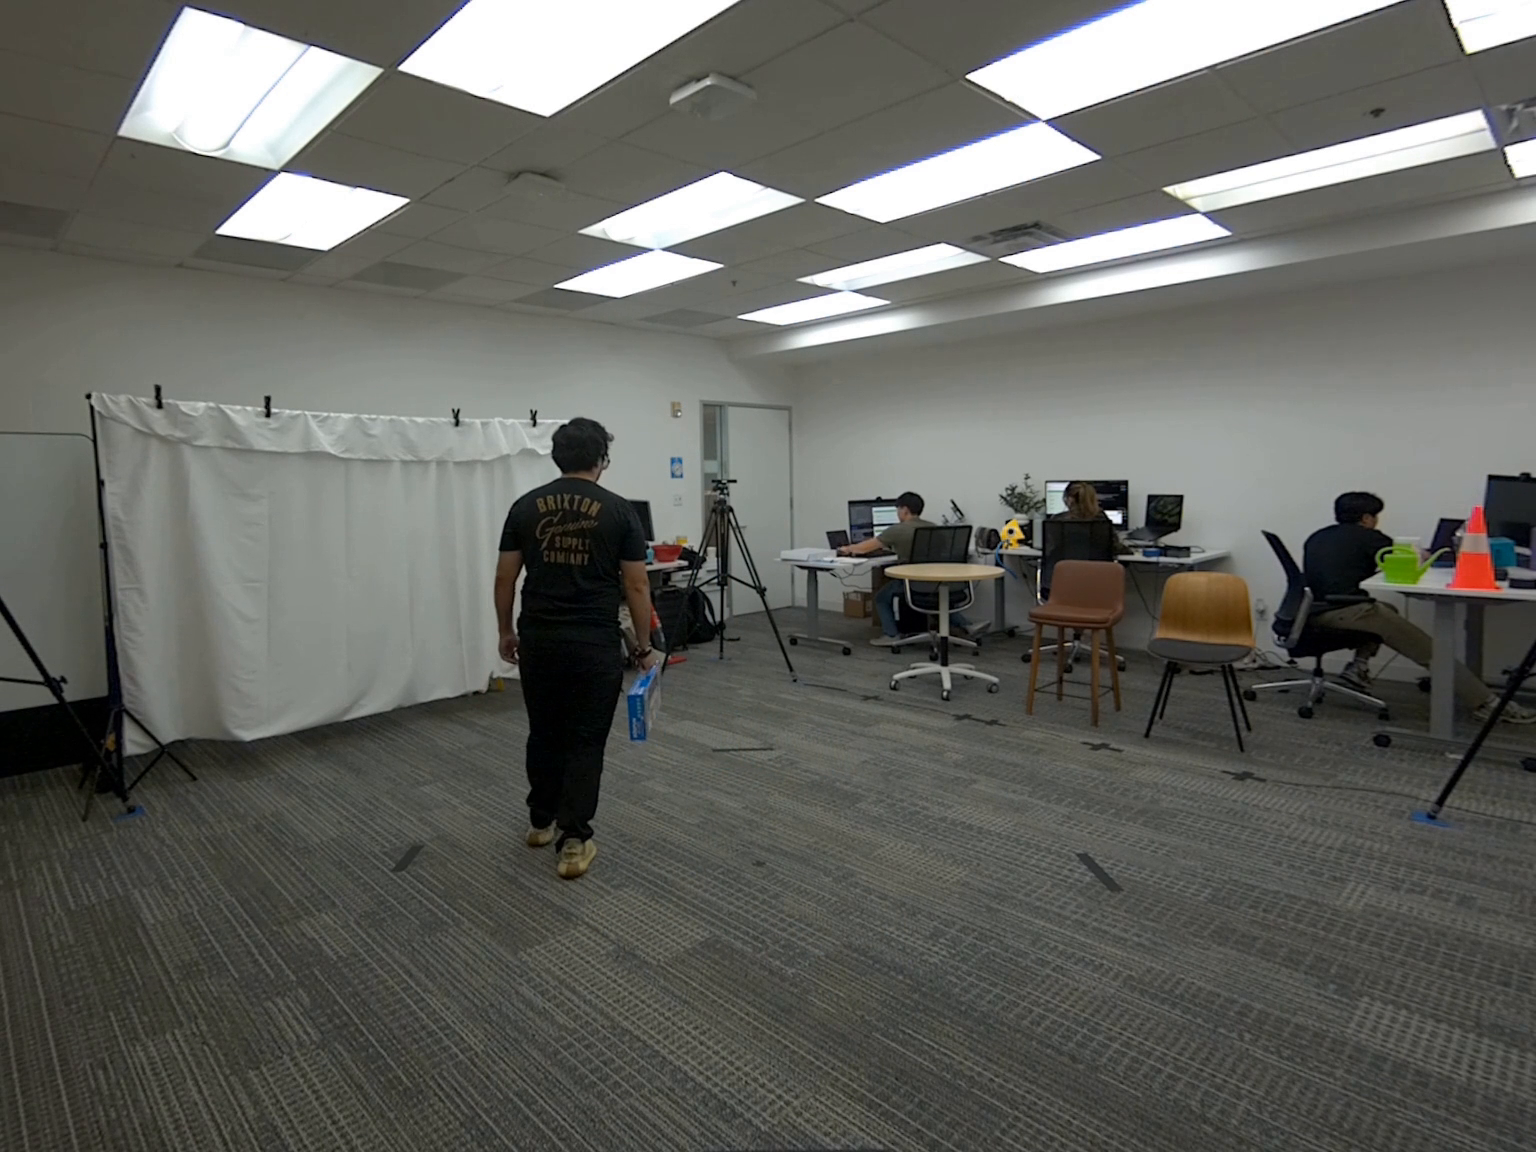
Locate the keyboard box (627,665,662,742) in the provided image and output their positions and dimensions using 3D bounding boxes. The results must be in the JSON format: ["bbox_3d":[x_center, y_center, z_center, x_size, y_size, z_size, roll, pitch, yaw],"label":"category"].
[{"bbox_3d":[-0.465,0.459,3.271,0.059,0.174,0.439,-2,10,2],"label":"keyboard box"}]
